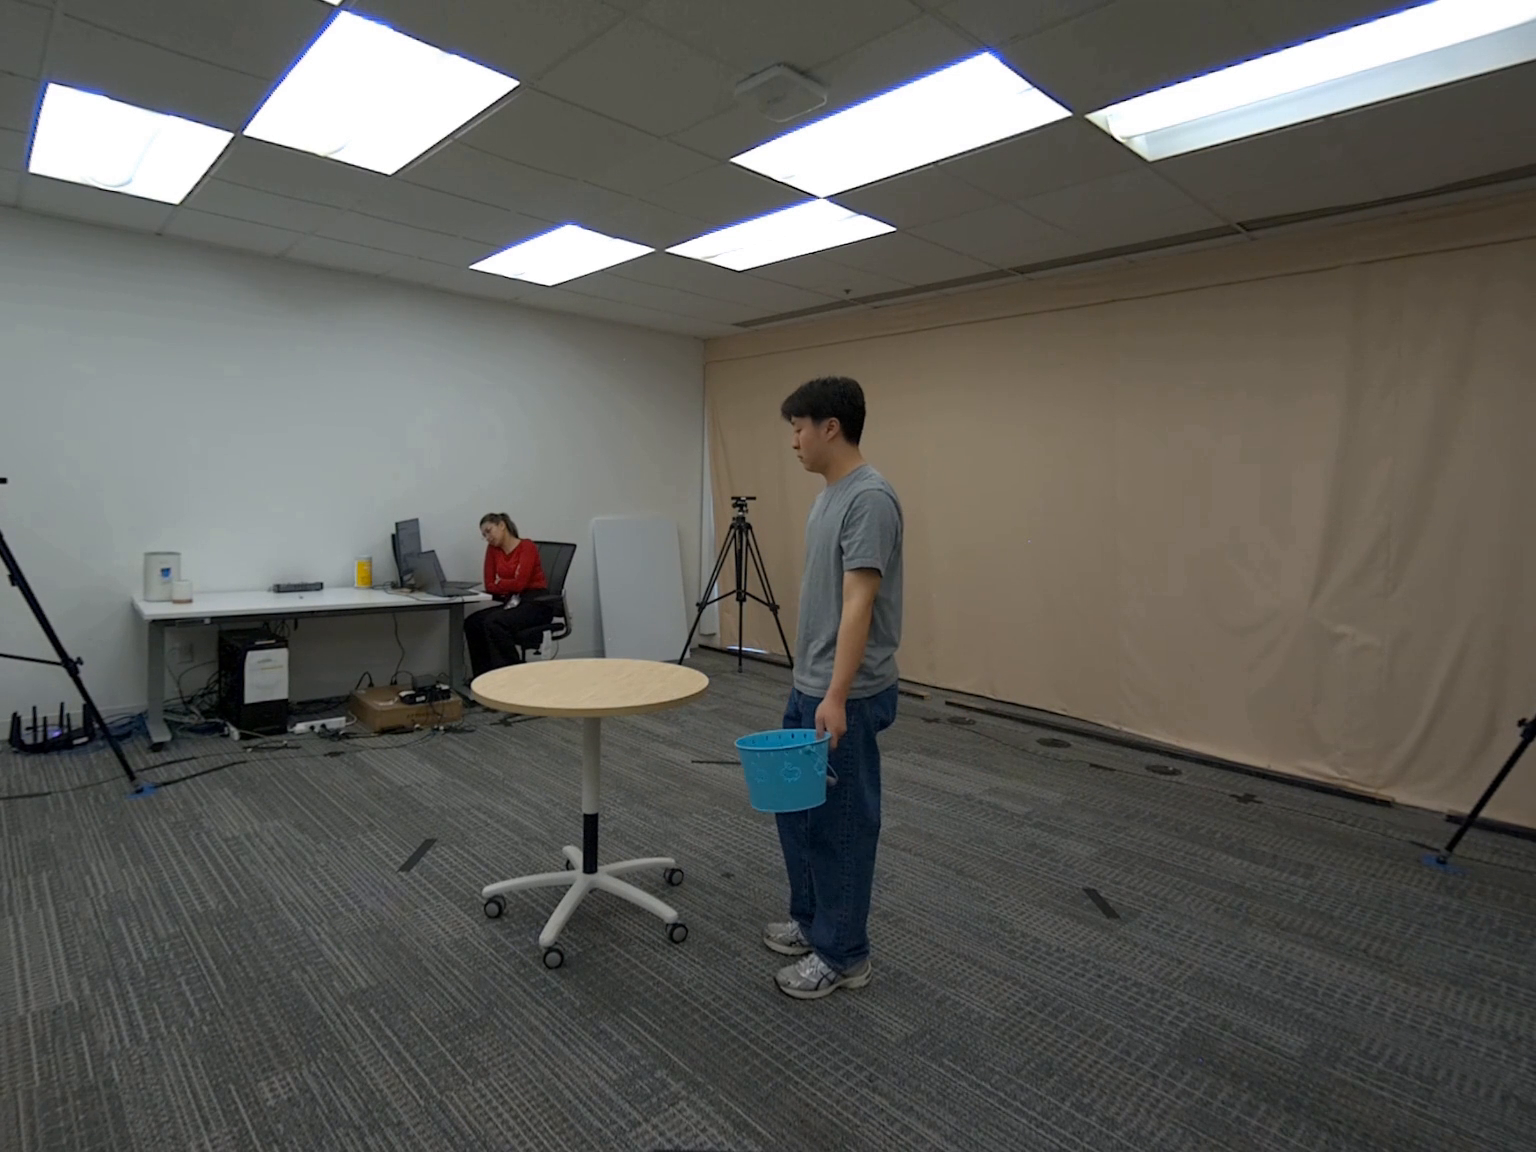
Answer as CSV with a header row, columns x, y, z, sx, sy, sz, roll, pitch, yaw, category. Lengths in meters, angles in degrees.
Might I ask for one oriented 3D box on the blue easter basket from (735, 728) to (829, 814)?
x,y,z,sx,sy,sz,roll,pitch,yaw,category
0.053,0.473,2.025,0.243,0.156,0.243,-5,0,-1,blue easter basket
